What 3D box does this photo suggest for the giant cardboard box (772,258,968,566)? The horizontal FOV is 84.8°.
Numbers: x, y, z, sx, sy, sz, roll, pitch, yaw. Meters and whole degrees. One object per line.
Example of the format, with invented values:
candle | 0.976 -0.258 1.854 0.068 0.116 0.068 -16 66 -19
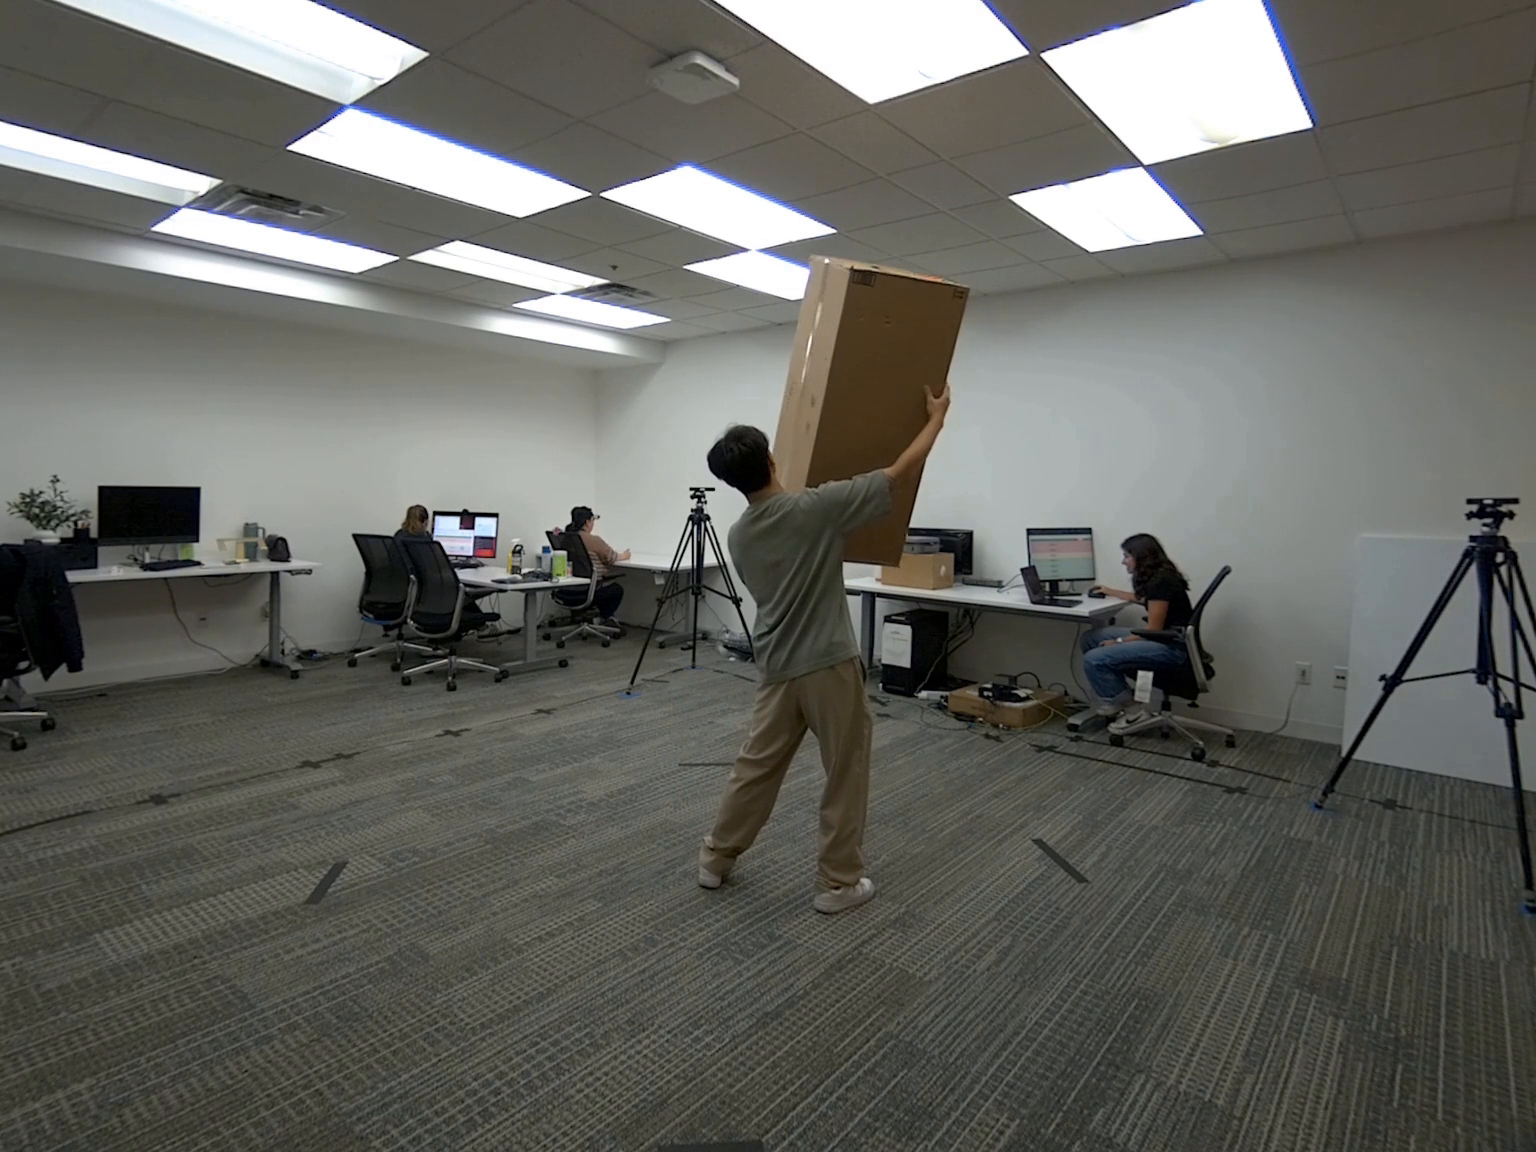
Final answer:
giant cardboard box | 0.316 -0.632 3.206 0.420 1.011 0.594 6 21 -13
